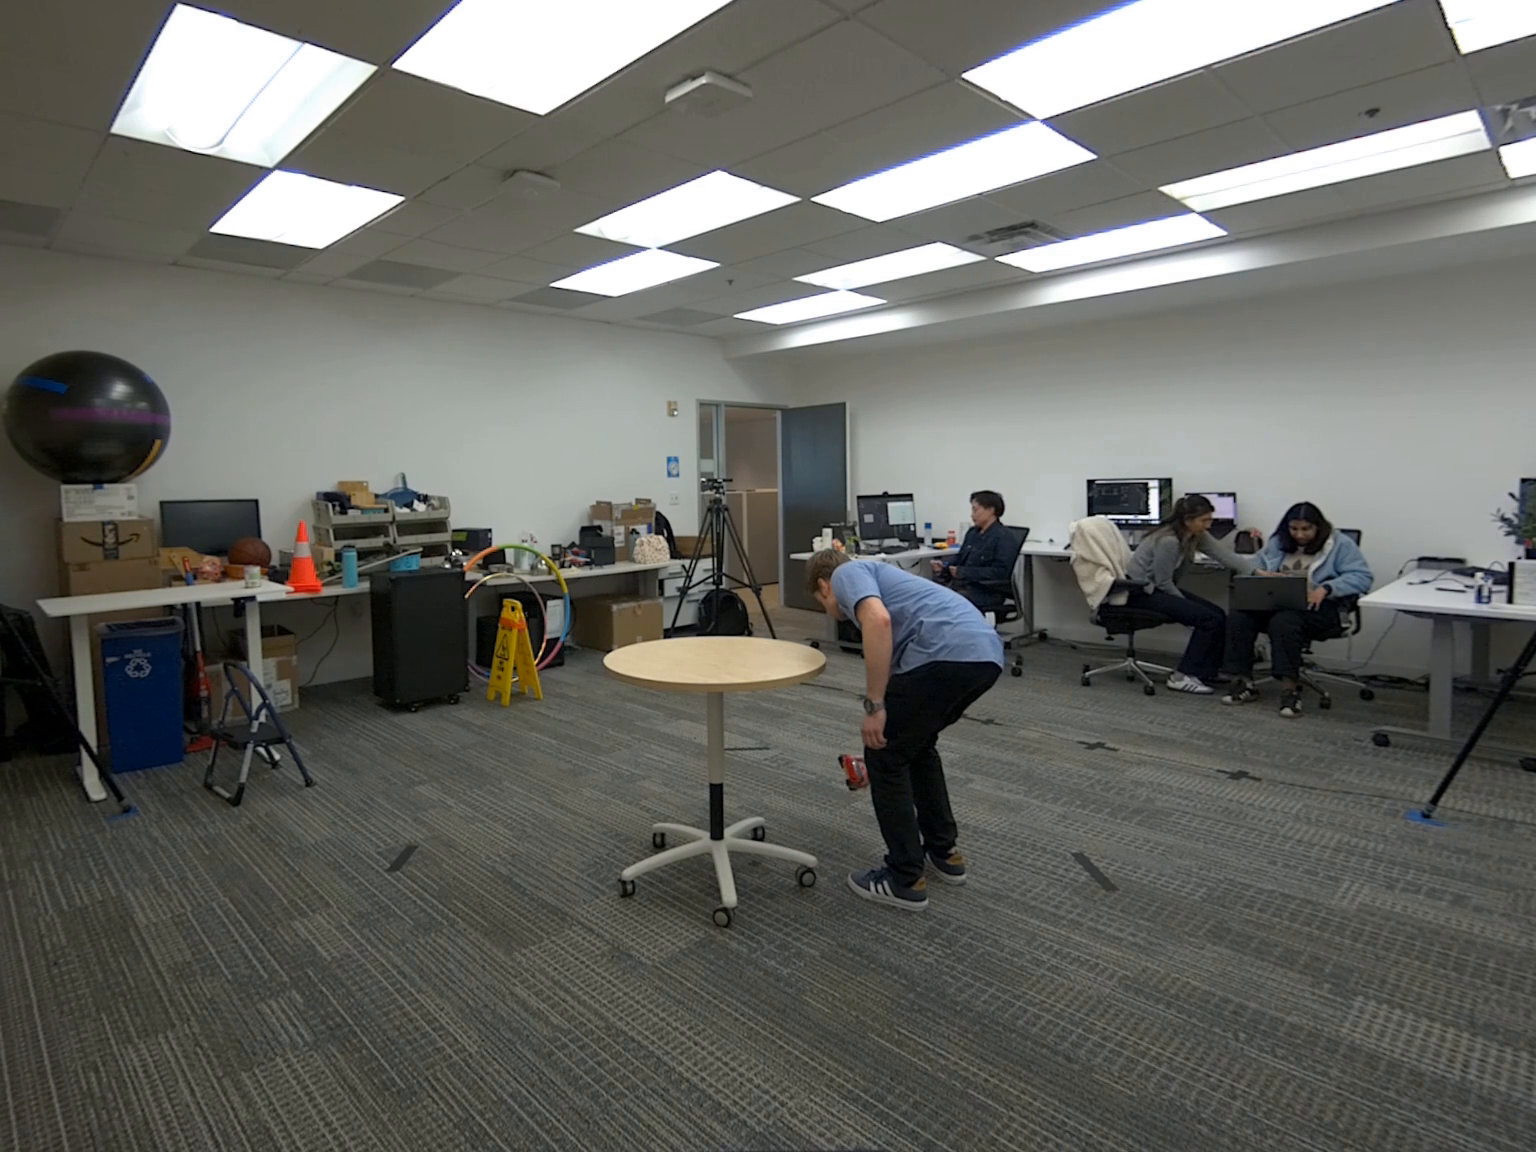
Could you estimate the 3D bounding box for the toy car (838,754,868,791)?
[{"bbox_3d":[0.324,0.773,3.326,0.084,0.133,0.247,-24,-21,11],"label":"toy car"}]
